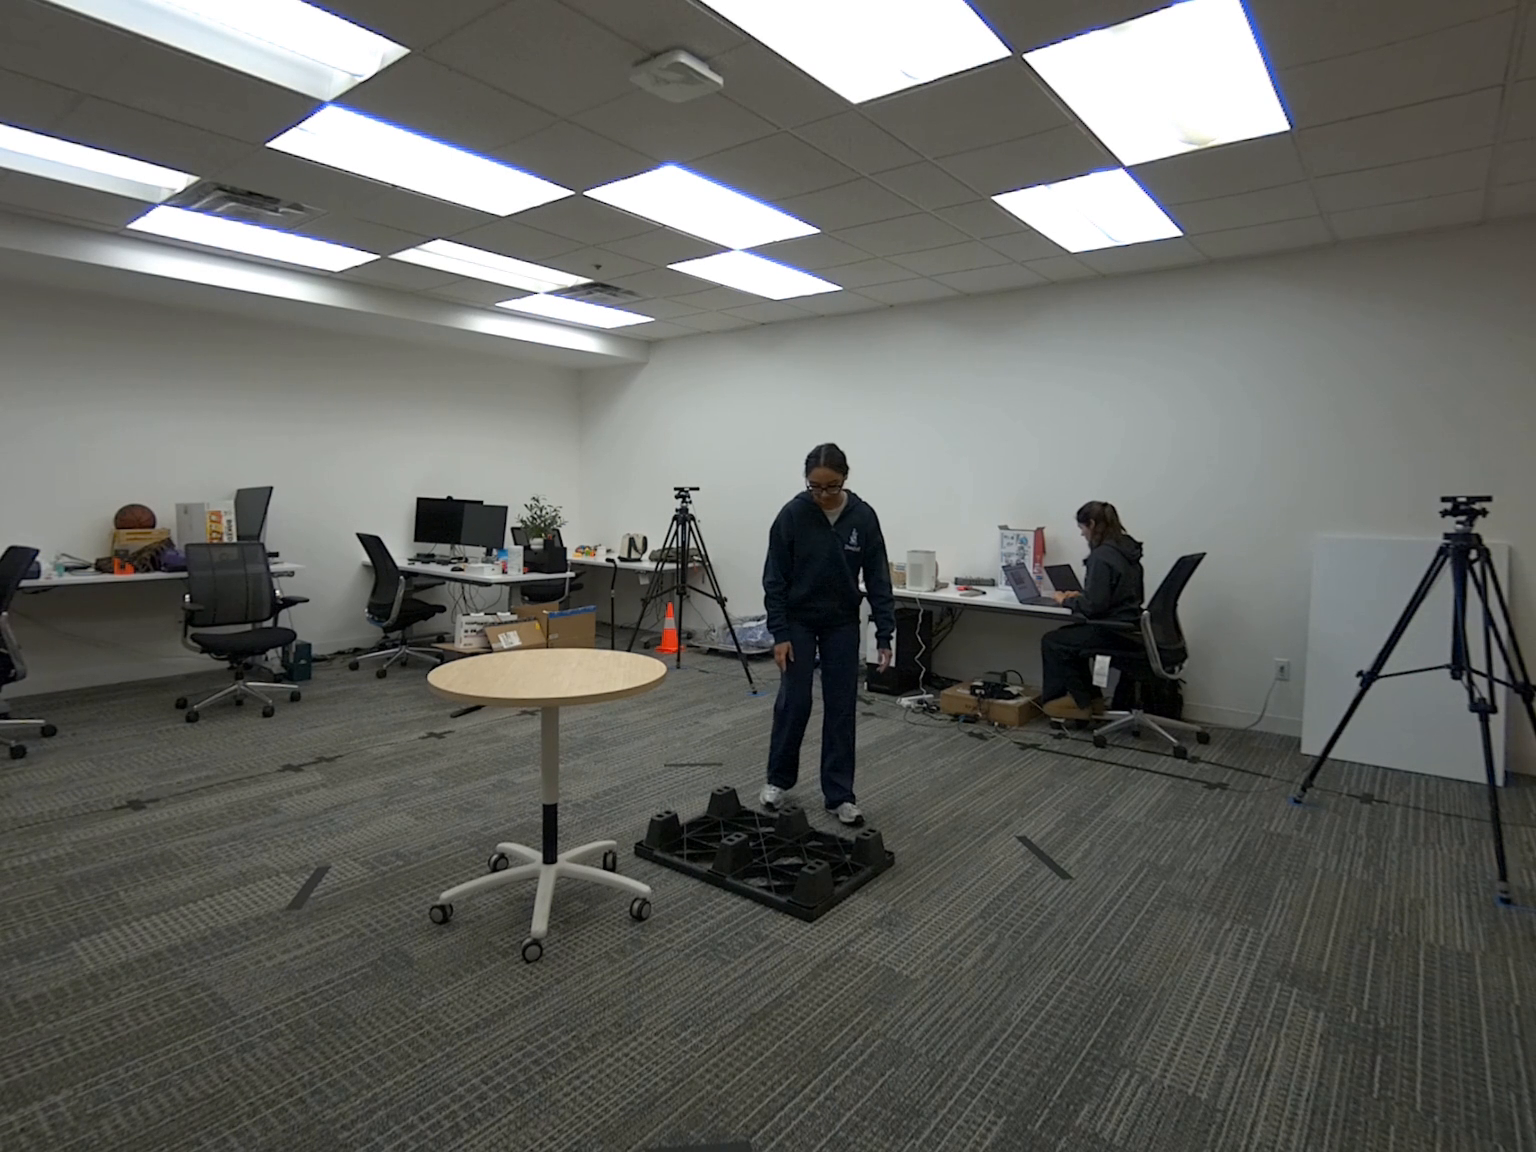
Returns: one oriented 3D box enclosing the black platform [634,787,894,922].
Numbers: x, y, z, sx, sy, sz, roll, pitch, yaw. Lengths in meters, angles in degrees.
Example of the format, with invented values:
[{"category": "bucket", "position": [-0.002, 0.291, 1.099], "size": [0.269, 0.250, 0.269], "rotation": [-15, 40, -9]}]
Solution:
[{"category": "black platform", "position": [-0.033, 0.995, 3.199], "size": [0.832, 0.143, 0.588], "rotation": [5, 6, 36]}]
